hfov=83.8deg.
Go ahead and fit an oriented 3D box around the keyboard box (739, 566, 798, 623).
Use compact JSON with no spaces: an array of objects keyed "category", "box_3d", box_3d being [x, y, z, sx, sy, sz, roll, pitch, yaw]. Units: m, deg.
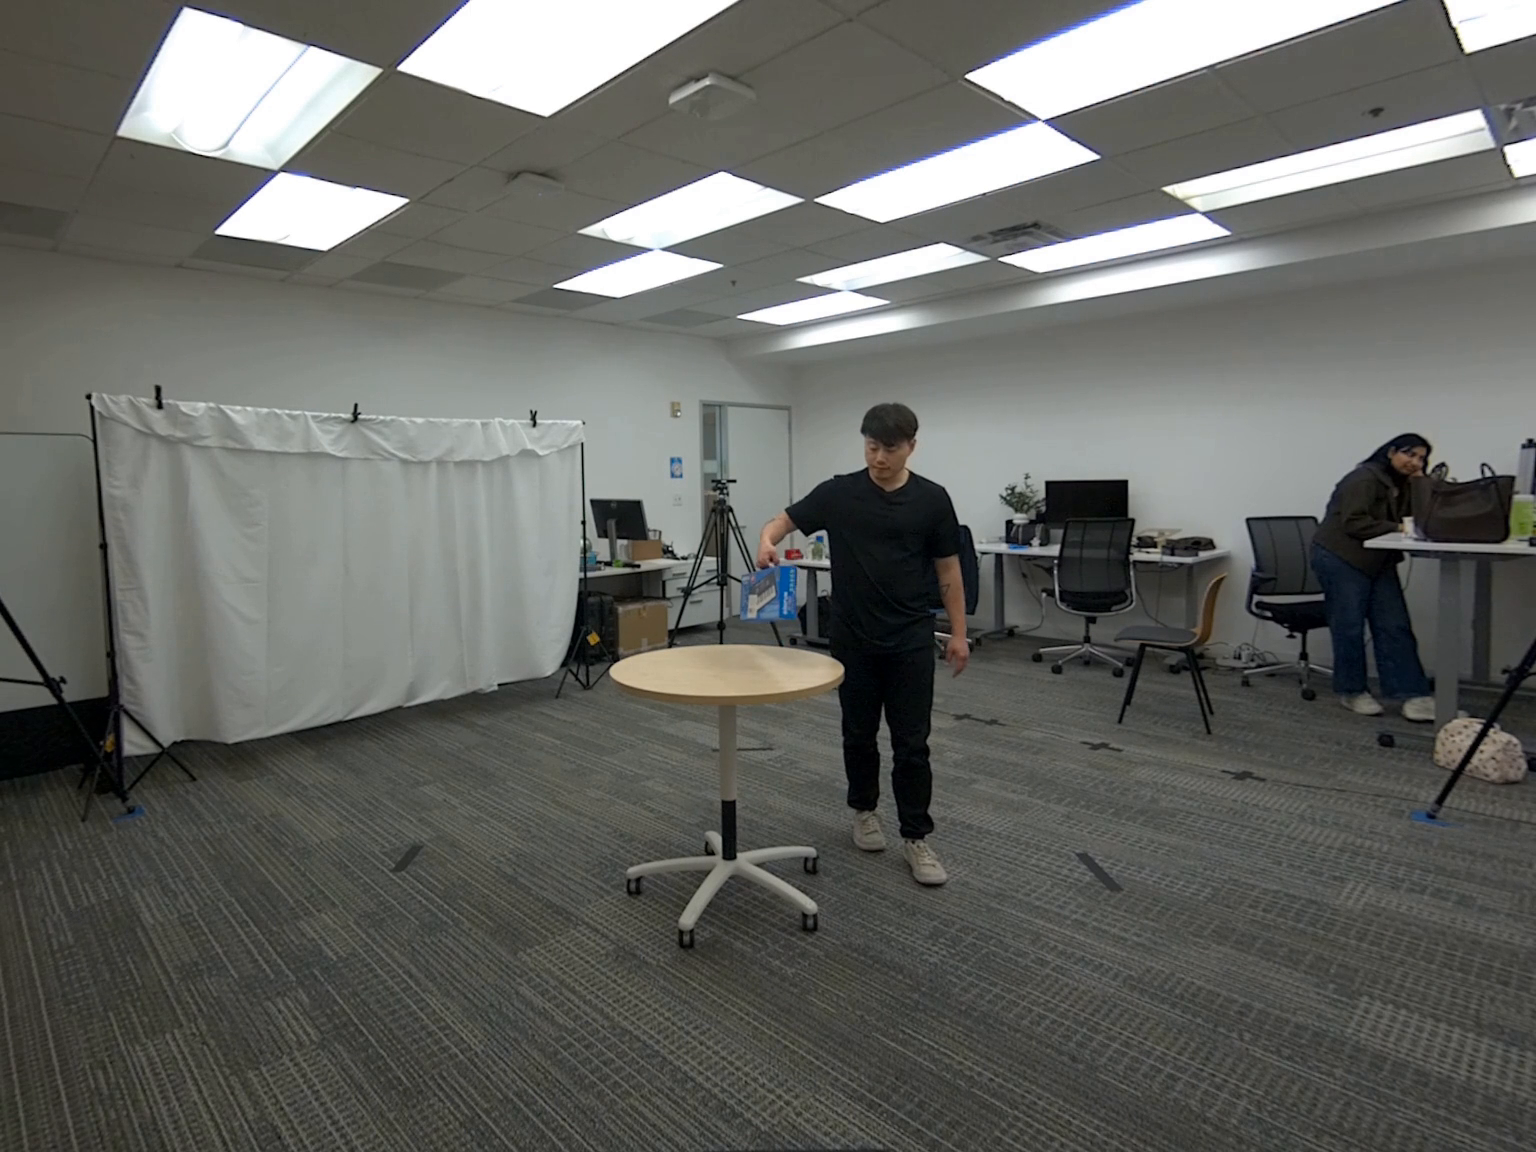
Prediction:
[{"category":"keyboard box","box_3d":[0.004,0.069,2.967,0.058,0.177,0.441,4,-6,-18]}]
